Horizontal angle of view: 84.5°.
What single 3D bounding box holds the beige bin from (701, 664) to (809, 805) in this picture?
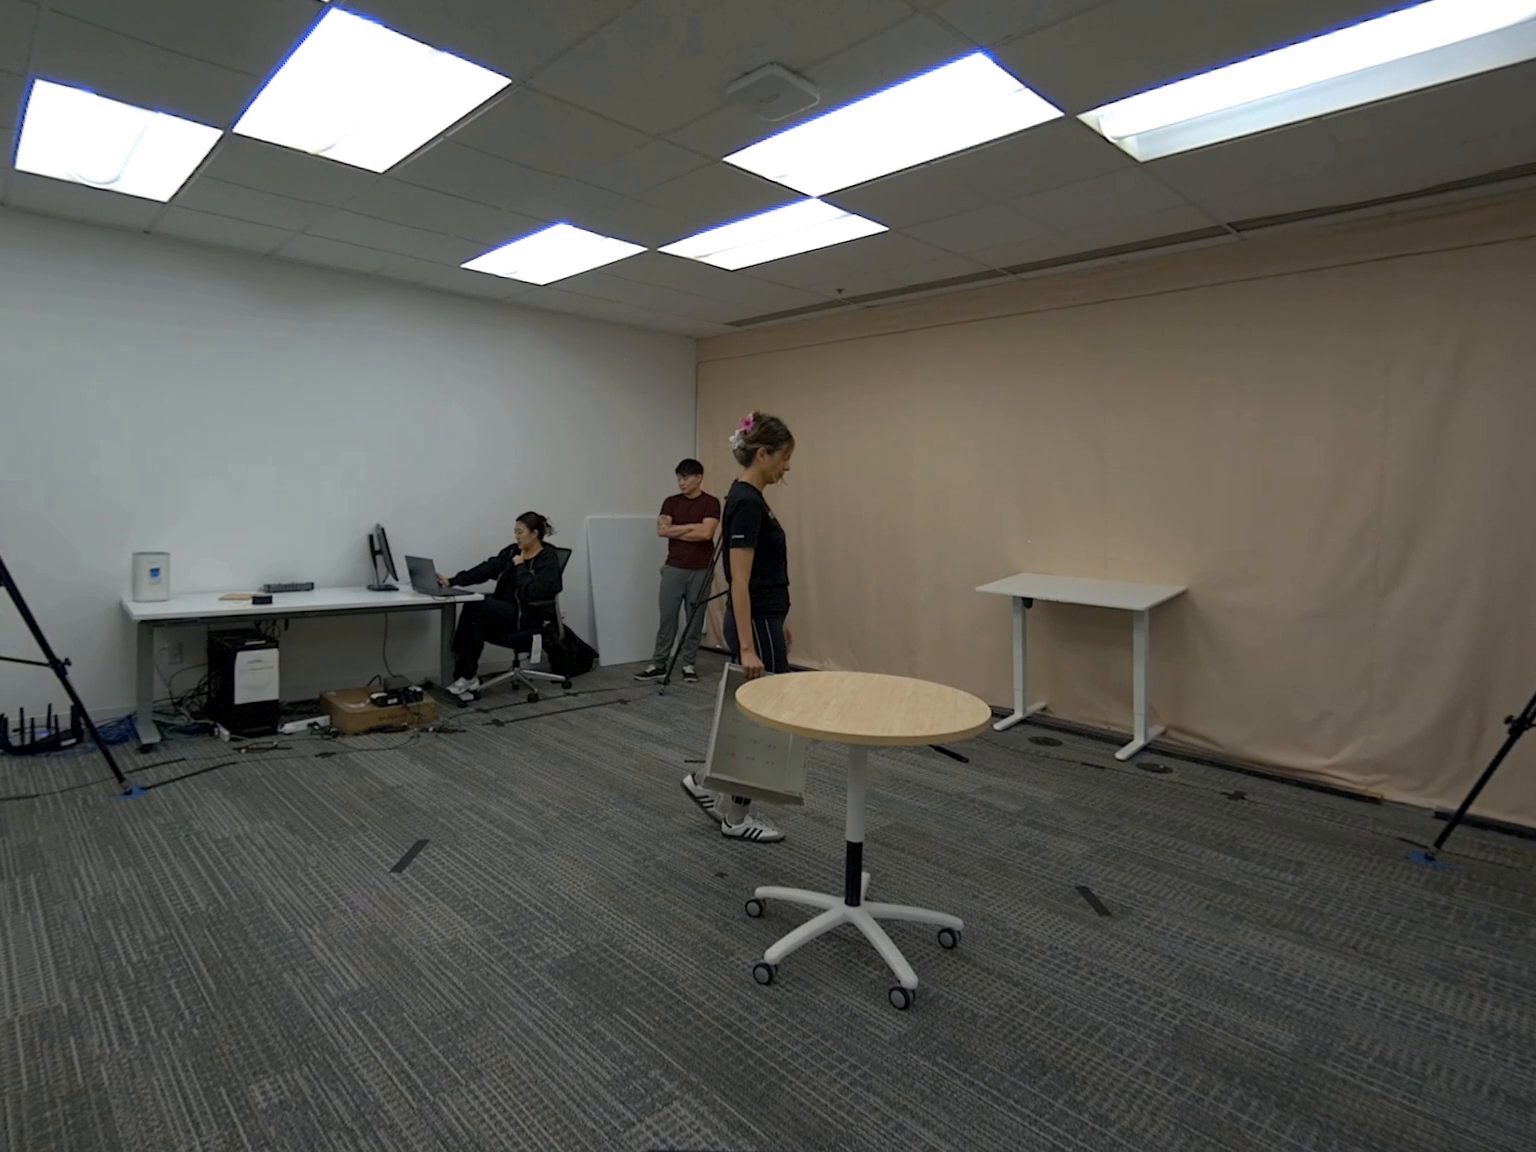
[{"bbox_3d":[-0.032,0.585,3.058,0.375,0.429,0.187,14,-31,-7],"label":"beige bin"}]
